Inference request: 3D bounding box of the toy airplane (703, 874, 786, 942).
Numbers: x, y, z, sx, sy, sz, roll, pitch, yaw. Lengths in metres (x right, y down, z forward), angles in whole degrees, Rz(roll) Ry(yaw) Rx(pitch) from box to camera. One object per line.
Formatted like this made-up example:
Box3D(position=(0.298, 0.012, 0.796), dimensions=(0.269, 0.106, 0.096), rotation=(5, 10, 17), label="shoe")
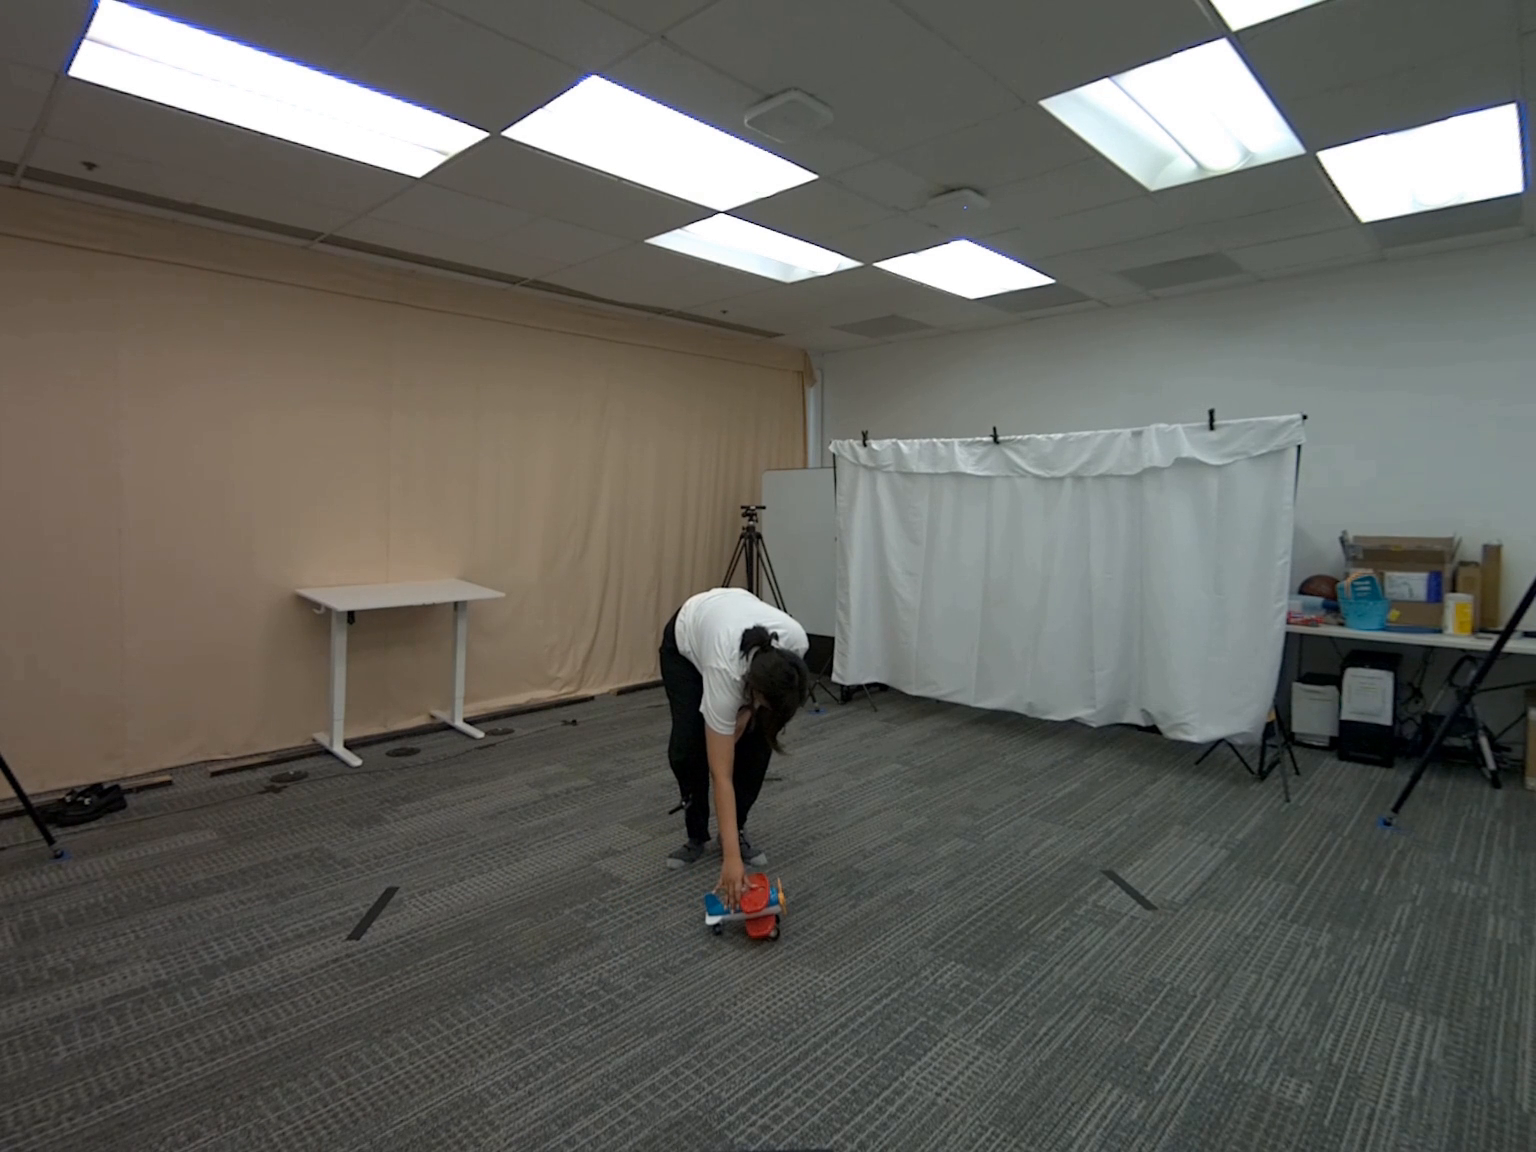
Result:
Box3D(position=(-0.067, 1.093, 2.719), dimensions=(0.253, 0.156, 0.258), rotation=(-2, 6, -25), label="toy airplane")
